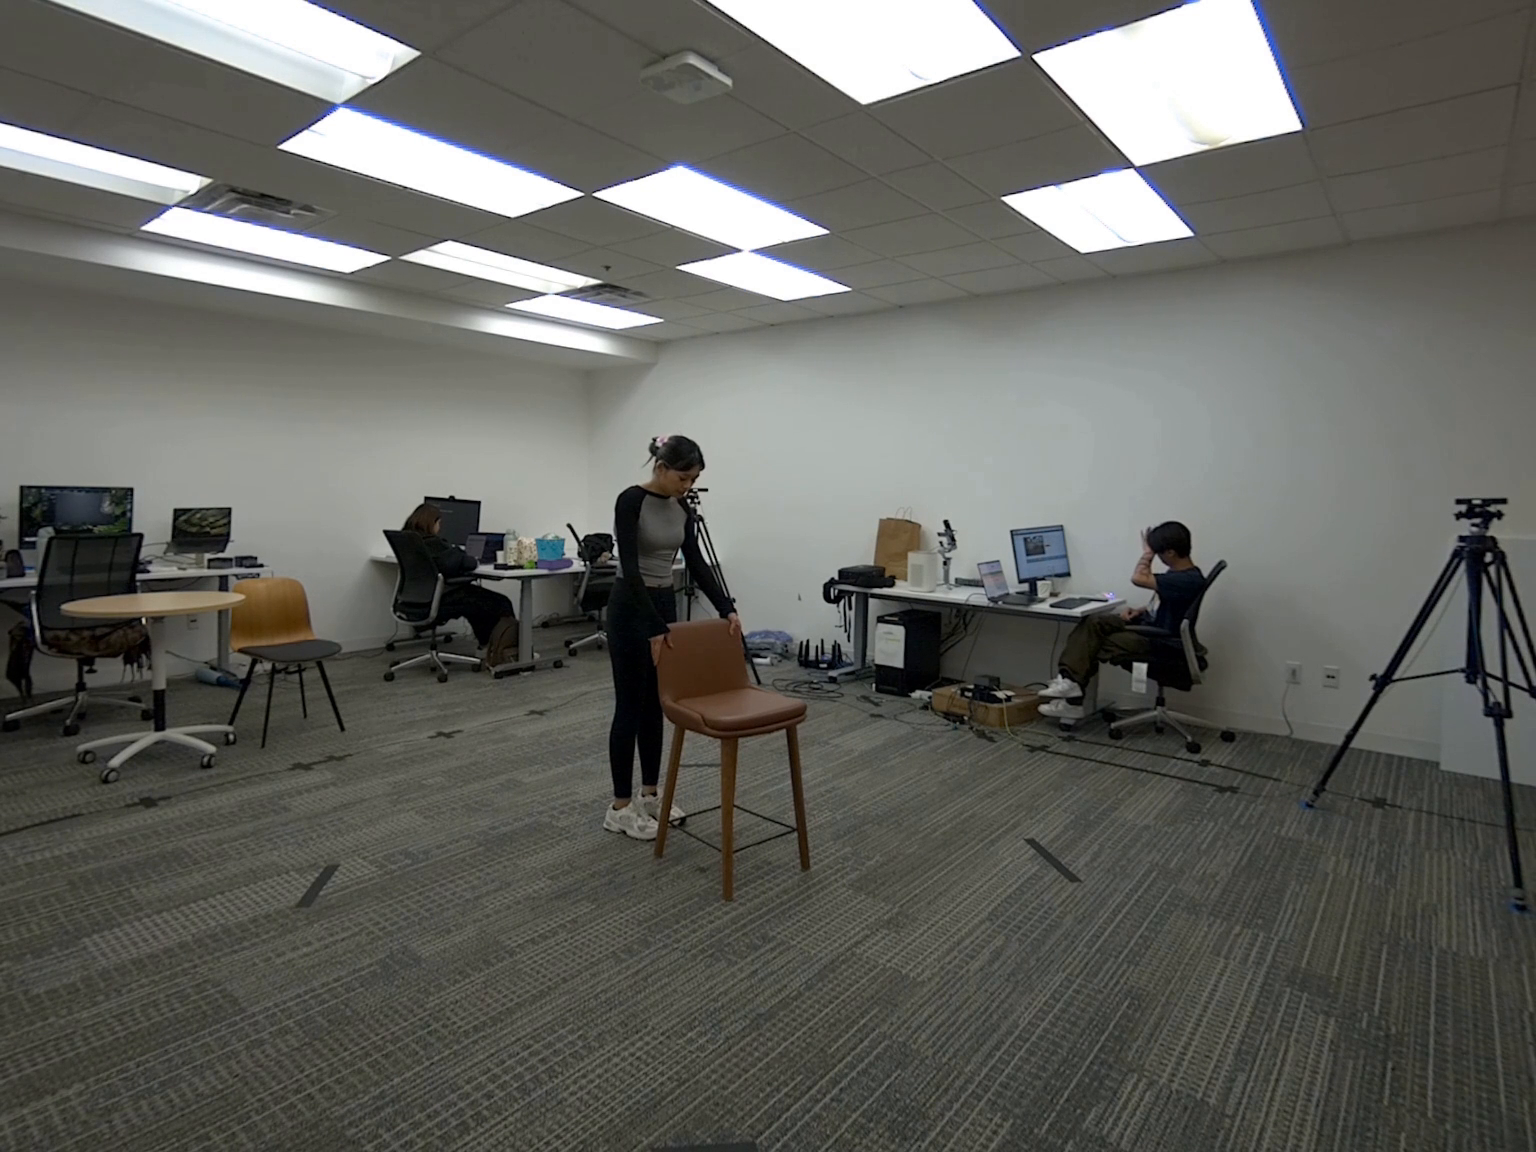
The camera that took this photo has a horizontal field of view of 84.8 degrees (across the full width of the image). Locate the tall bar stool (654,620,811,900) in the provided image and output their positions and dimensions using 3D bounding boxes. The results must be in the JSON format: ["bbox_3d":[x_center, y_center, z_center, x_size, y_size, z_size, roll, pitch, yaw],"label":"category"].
[{"bbox_3d":[-0.150,0.628,3.152,0.443,0.889,0.482,-2,2,-42],"label":"tall bar stool"}]
